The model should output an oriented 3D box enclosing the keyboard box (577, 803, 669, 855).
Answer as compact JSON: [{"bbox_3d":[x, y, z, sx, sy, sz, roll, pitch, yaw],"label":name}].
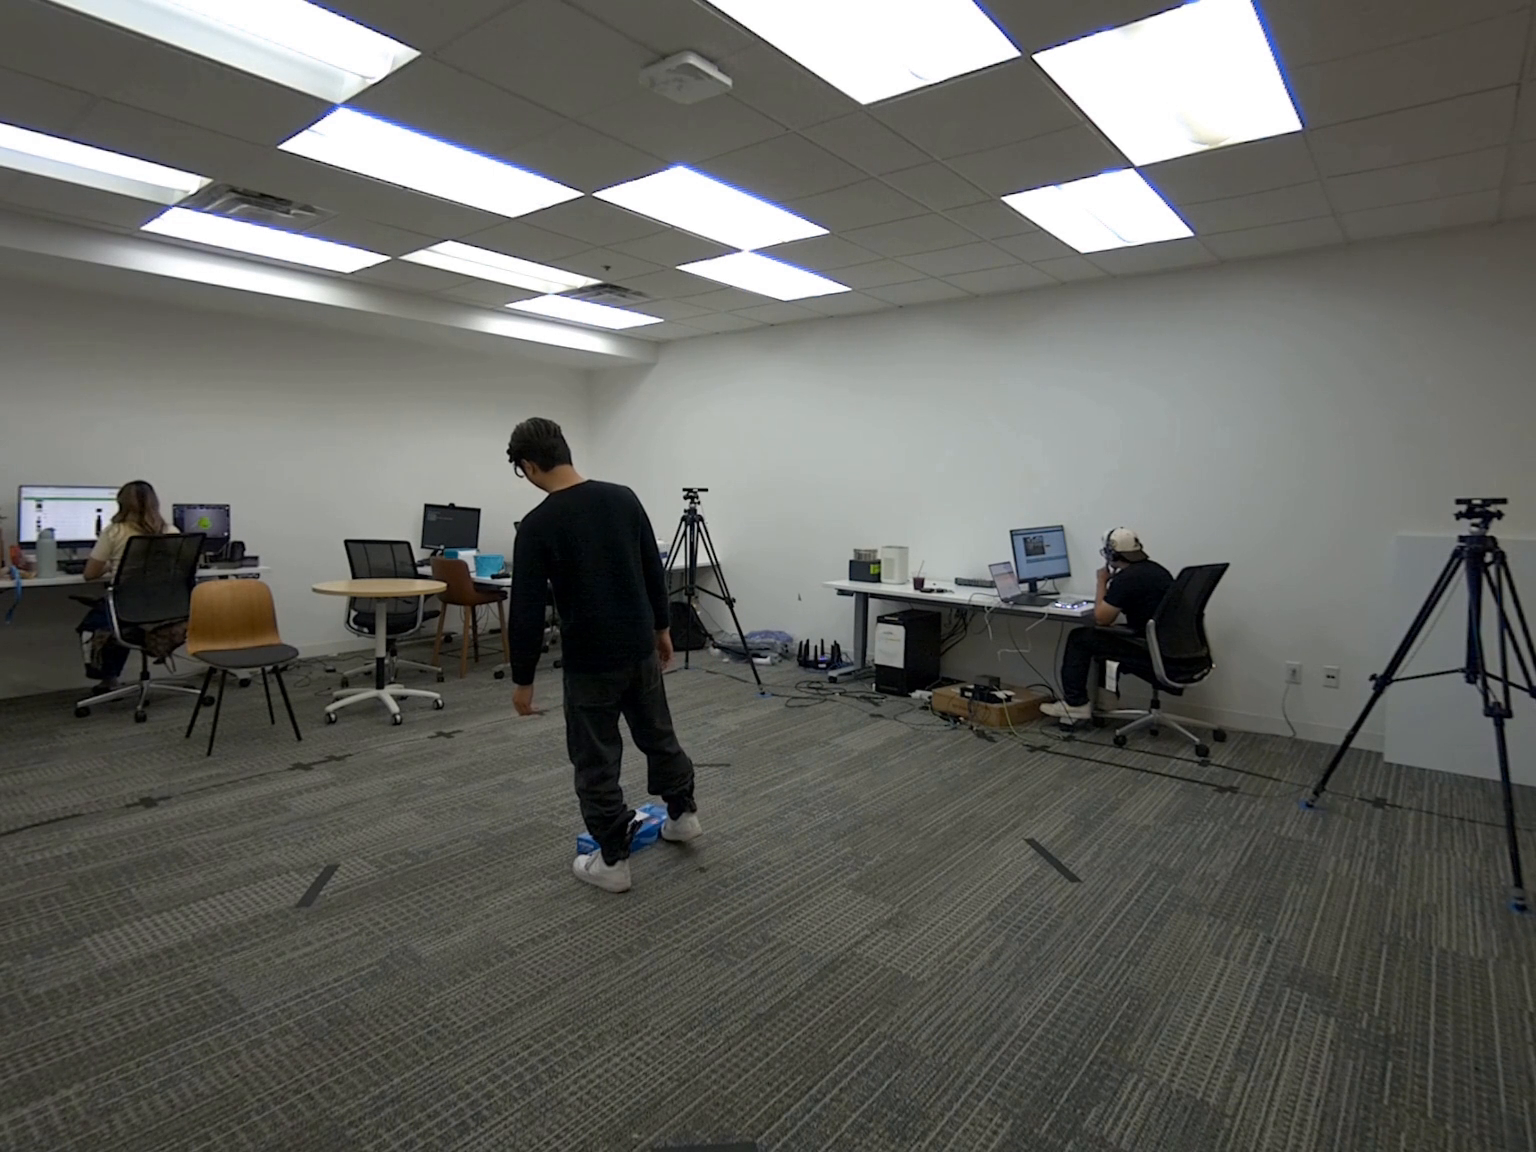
[{"bbox_3d":[-0.557,1.009,3.373,0.181,0.059,0.425,4,6,32],"label":"keyboard box"}]
